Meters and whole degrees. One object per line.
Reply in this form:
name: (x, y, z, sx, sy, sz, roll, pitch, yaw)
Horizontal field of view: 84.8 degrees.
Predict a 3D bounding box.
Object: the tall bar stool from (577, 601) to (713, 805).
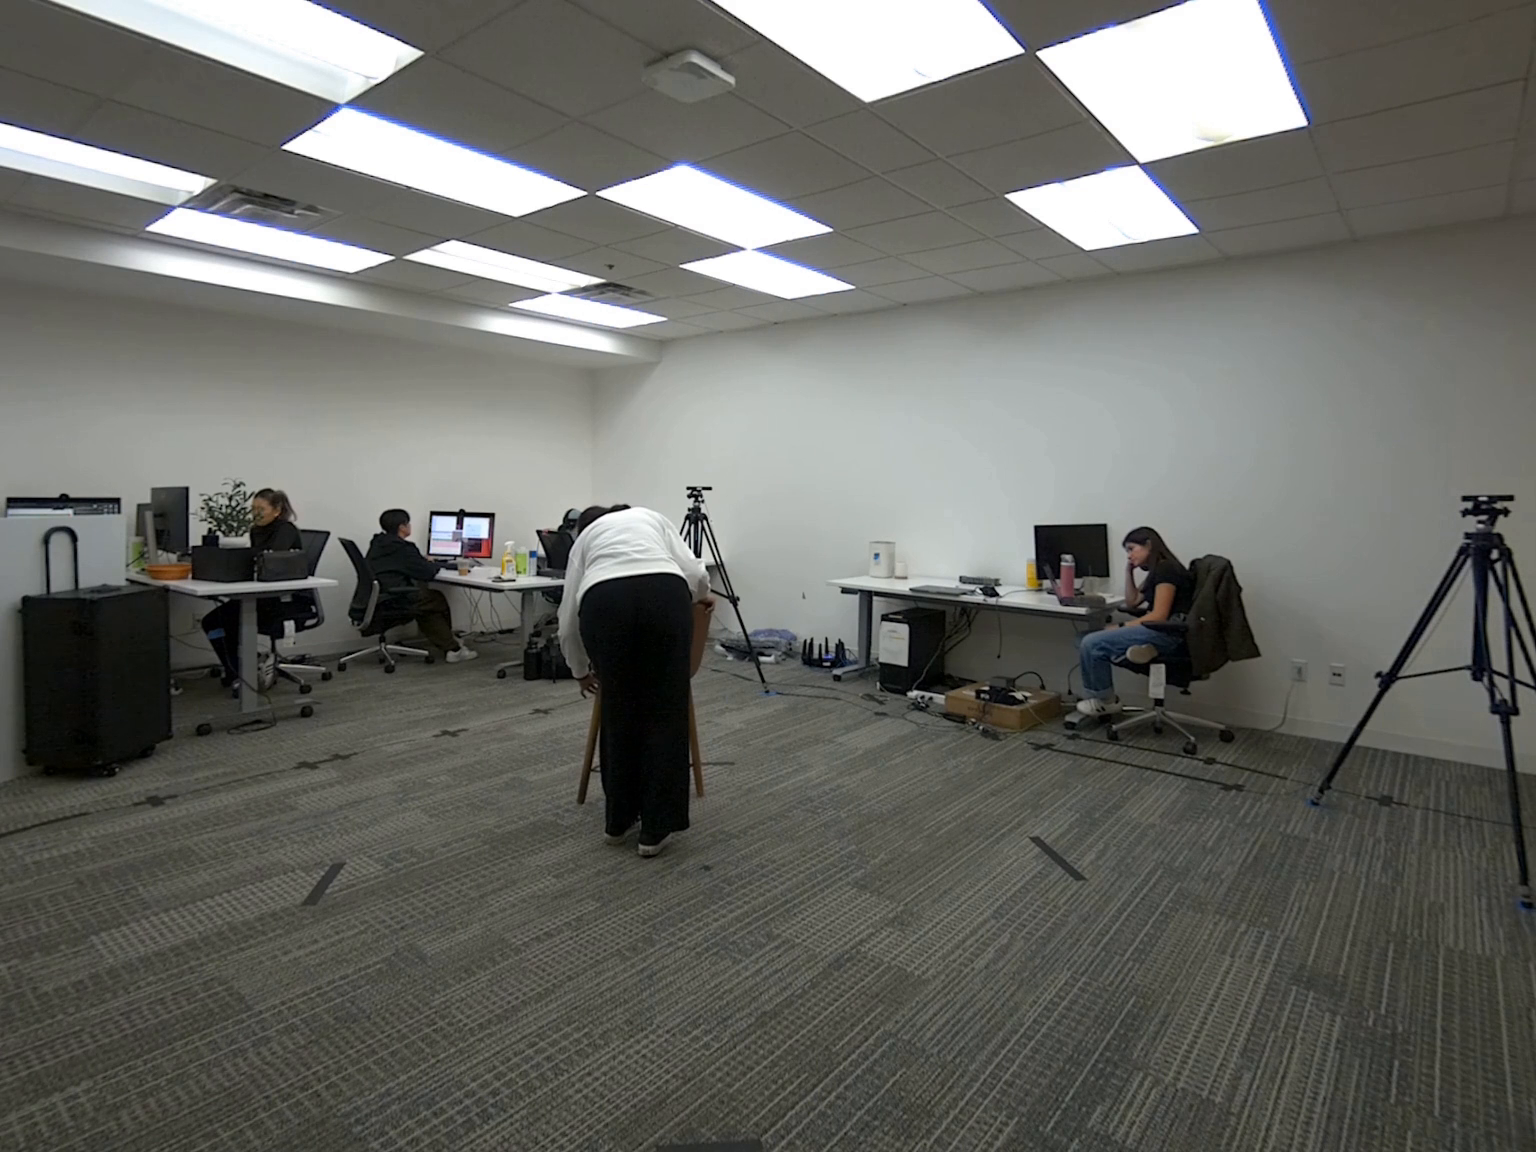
tall bar stool: (-0.520, 0.543, 3.756, 0.476, 0.891, 0.448, 4, -2, 14)
